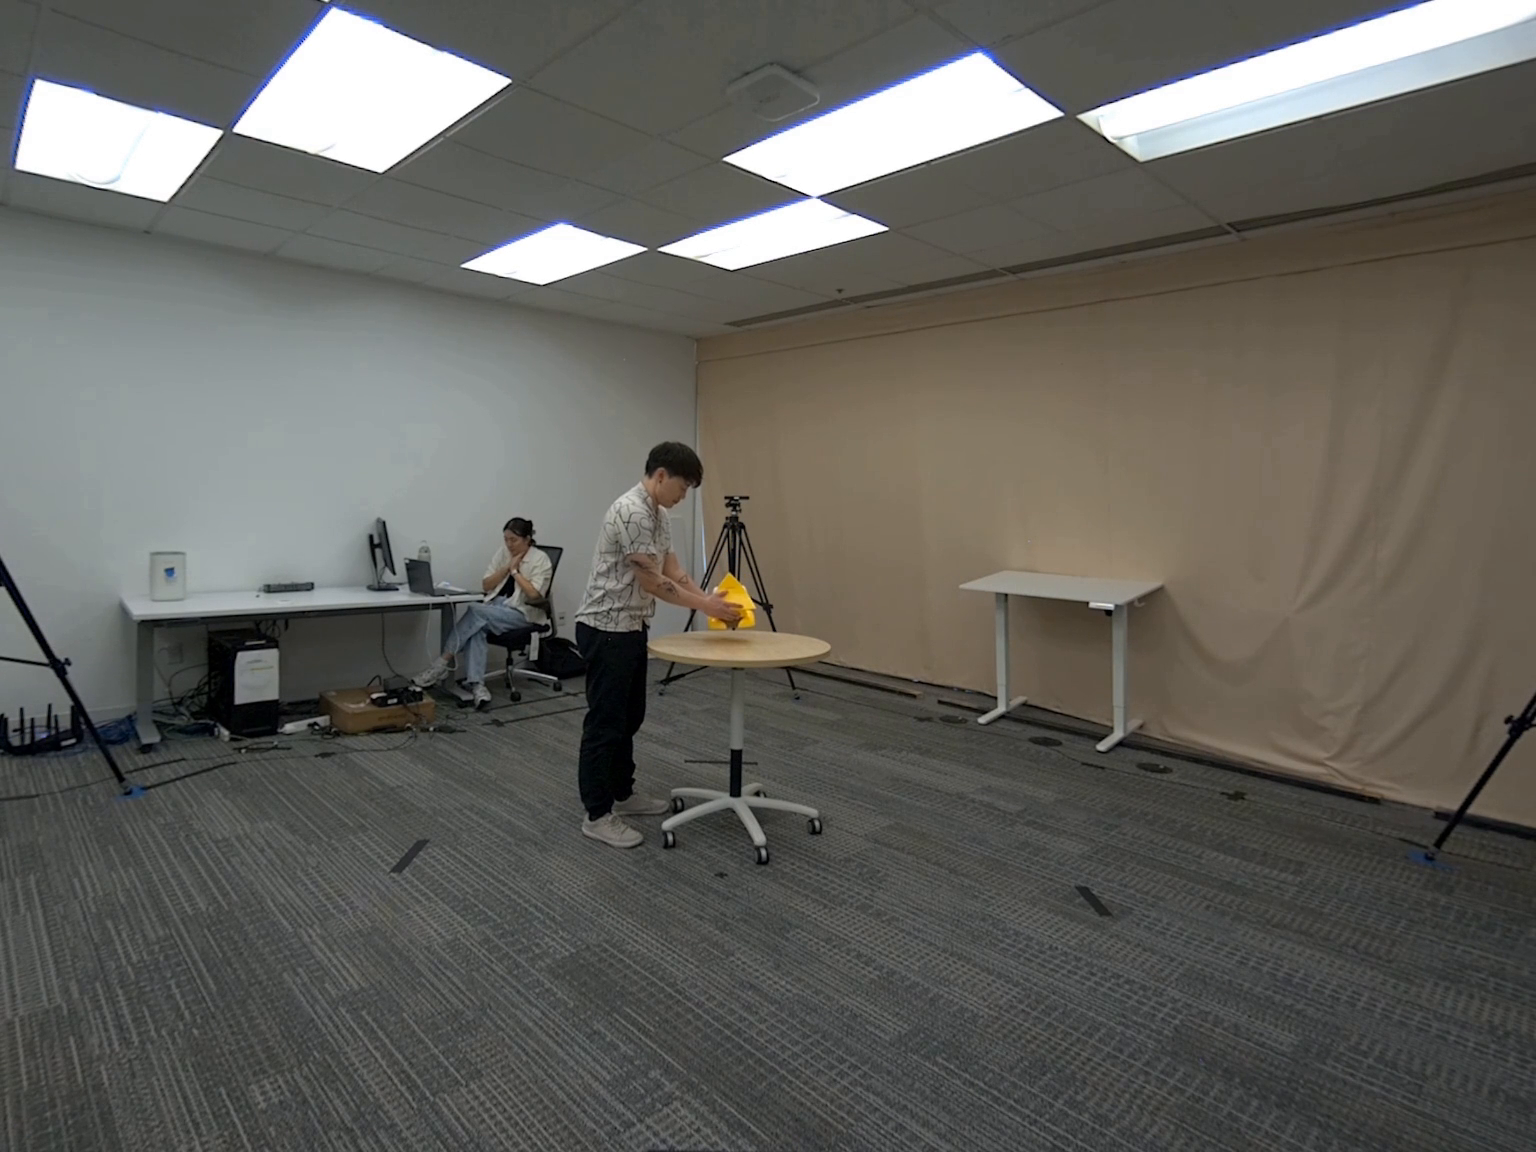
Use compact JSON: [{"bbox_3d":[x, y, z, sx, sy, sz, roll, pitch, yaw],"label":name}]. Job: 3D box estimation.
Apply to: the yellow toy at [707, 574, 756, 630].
[{"bbox_3d":[-0.173,0.096,3.572,0.204,0.230,0.194,-3,3,-4],"label":"yellow toy"}]
